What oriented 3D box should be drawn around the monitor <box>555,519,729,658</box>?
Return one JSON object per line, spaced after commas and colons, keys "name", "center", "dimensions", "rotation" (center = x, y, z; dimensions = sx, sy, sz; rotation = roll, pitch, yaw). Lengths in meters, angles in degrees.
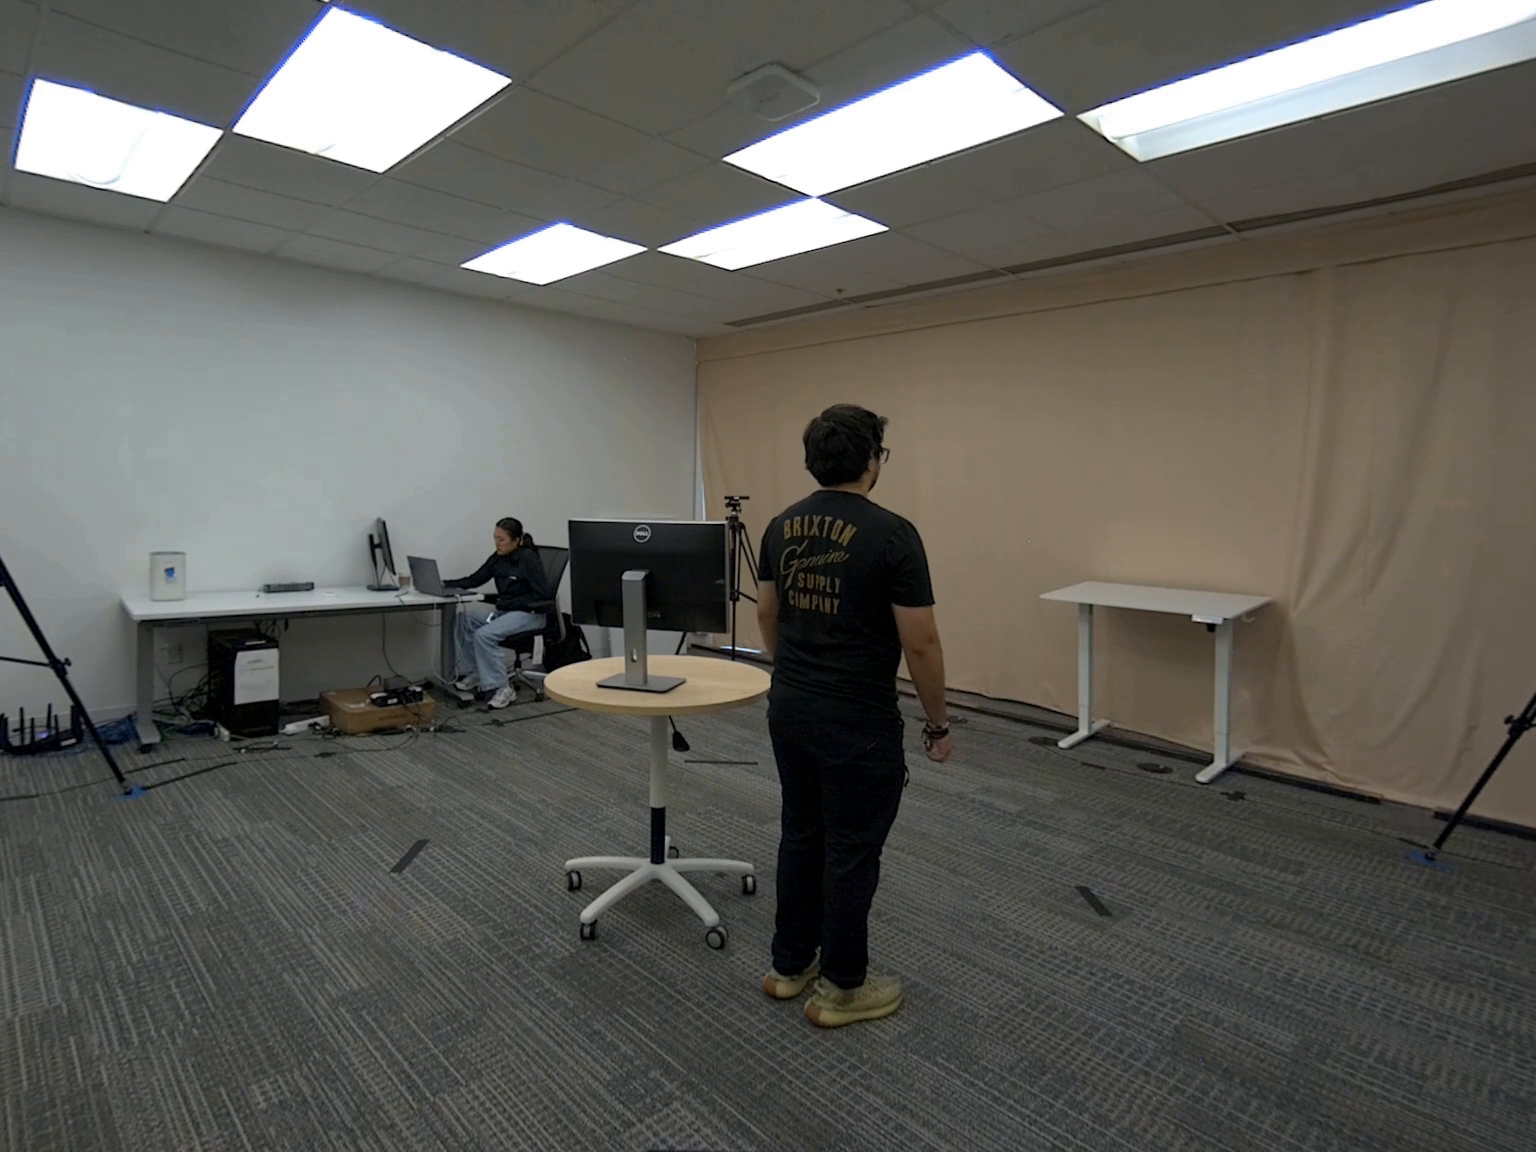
{"name": "monitor", "center": [-0.417, 0.096, 2.702], "dimensions": [0.573, 0.551, 0.208], "rotation": [2, 7, 17]}
